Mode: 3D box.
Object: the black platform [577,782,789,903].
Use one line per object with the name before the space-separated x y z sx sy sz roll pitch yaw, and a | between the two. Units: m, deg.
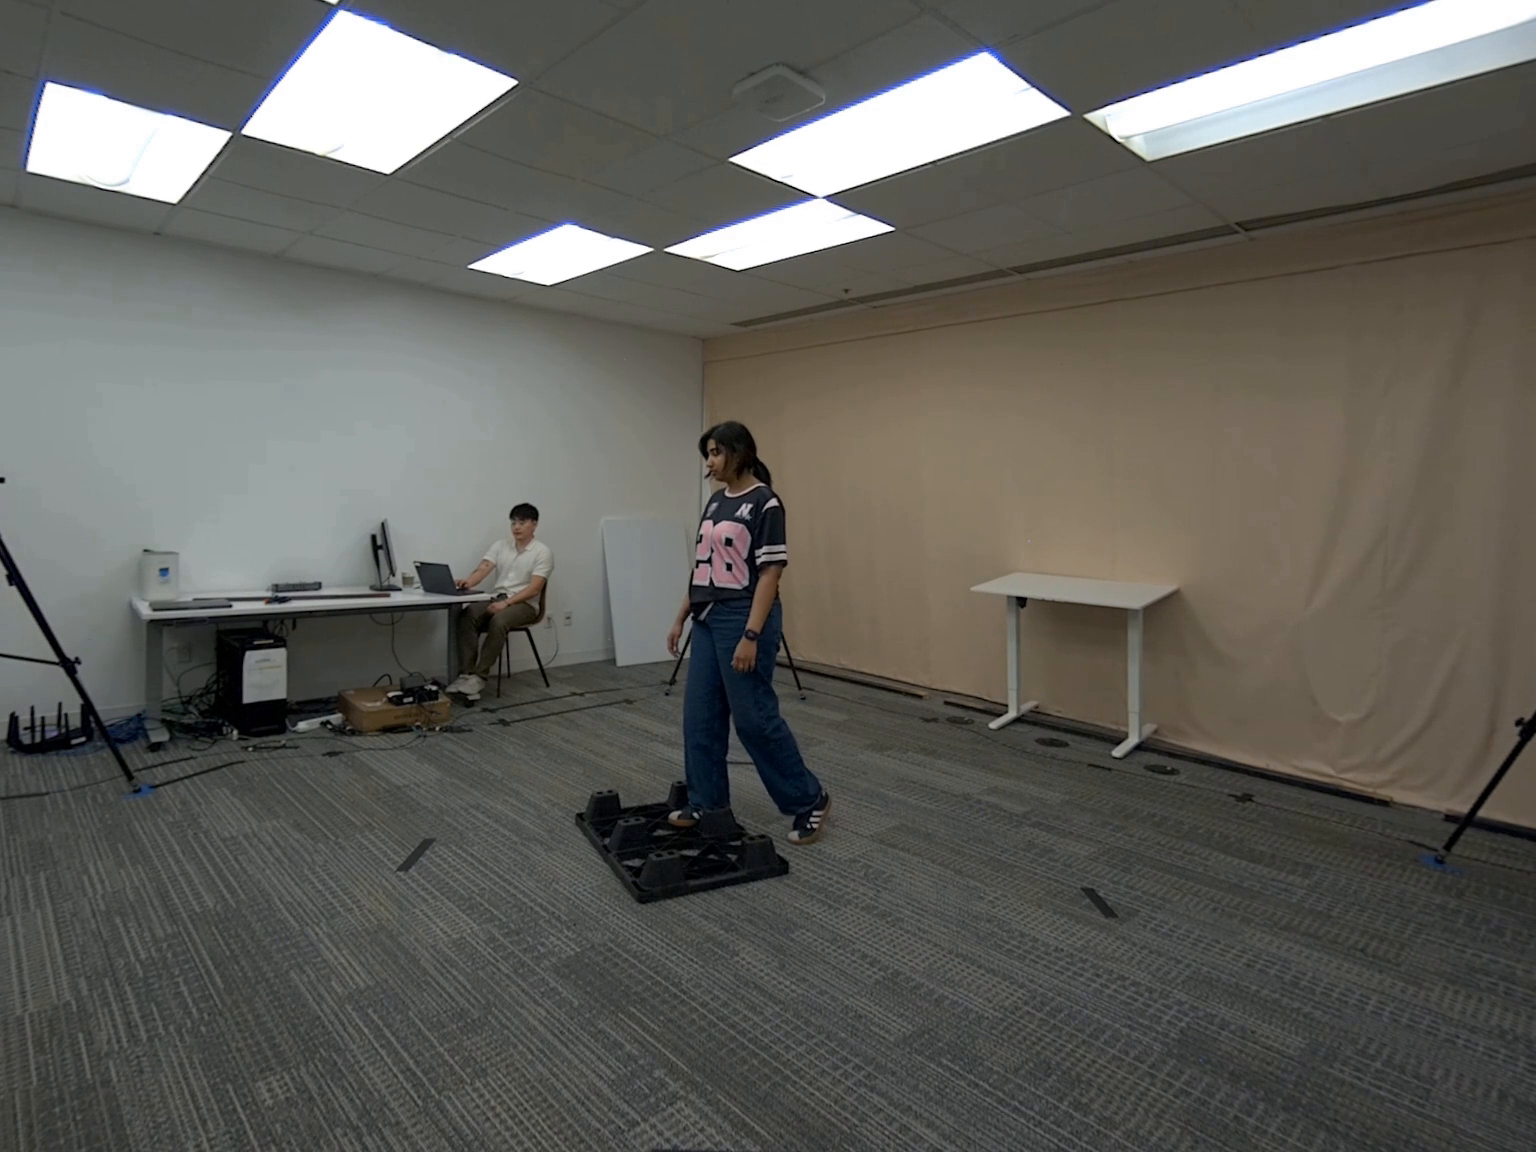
black platform | -0.369 1.014 3.341 0.593 0.143 0.824 -2 6 -28
